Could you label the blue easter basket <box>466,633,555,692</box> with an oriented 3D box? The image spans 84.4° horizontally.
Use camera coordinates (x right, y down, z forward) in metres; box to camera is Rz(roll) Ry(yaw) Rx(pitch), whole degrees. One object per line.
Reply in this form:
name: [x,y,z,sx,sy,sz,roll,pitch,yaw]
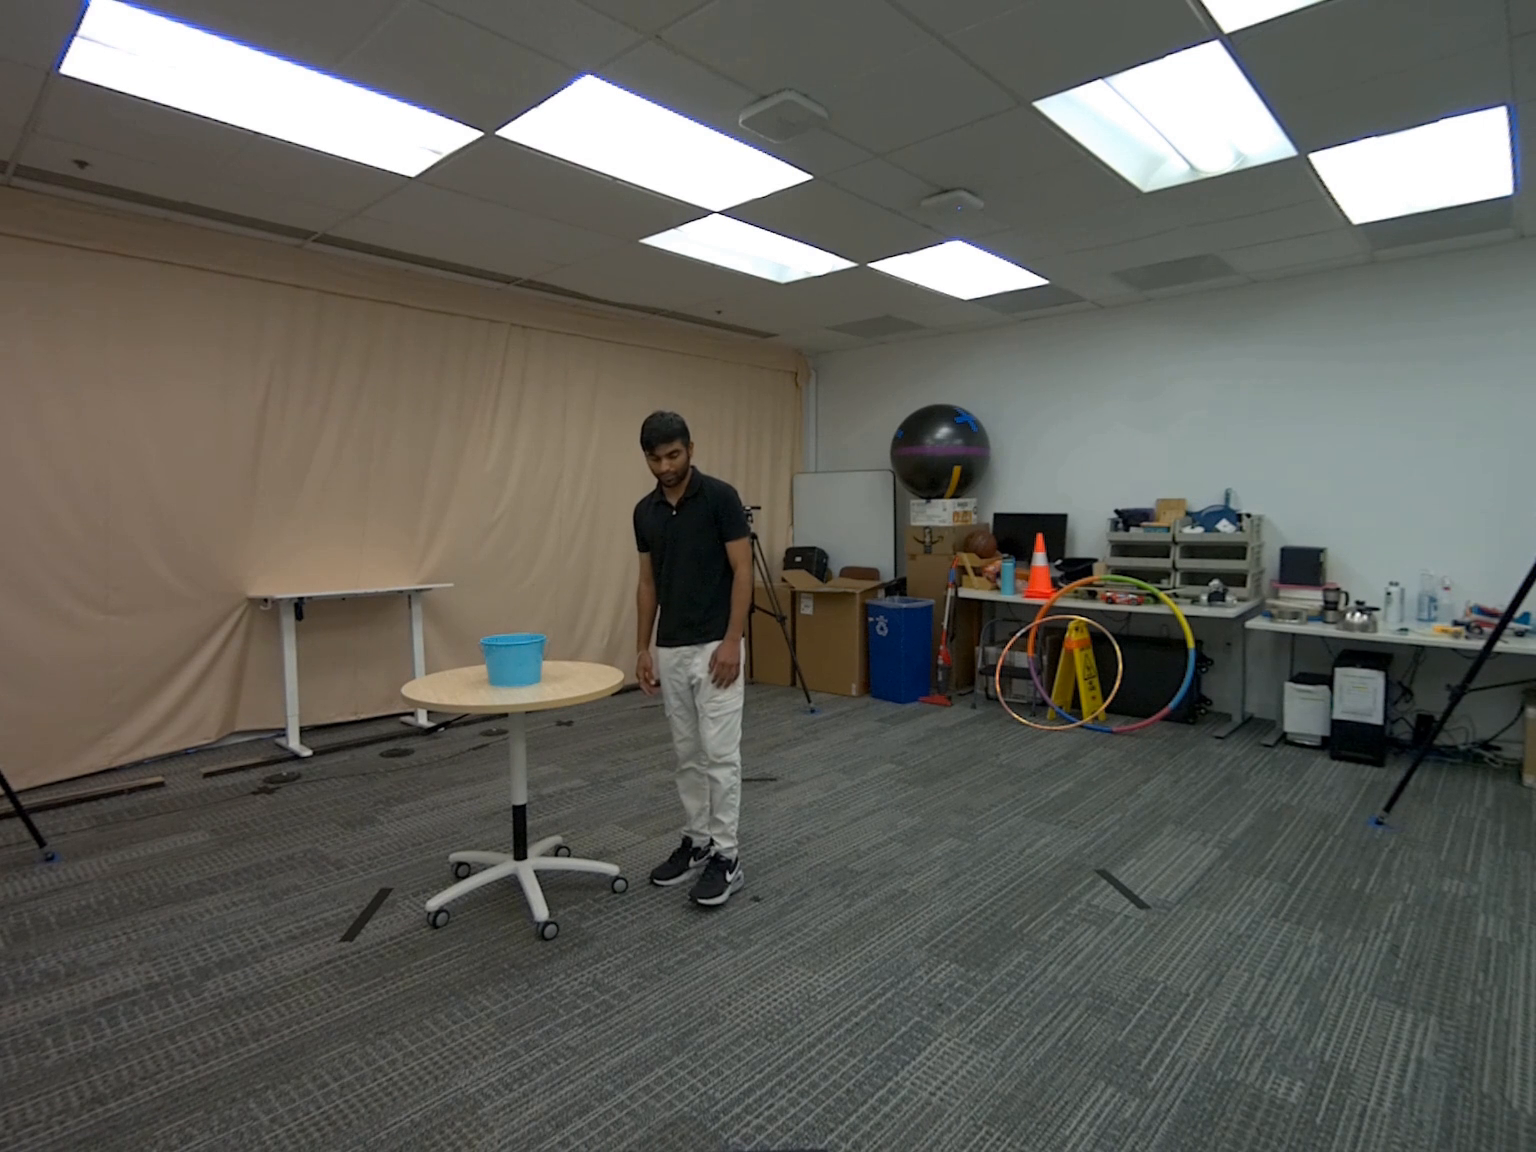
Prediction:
blue easter basket: [-0.895,0.295,2.961,0.243,0.155,0.244,-1,4,-2]
